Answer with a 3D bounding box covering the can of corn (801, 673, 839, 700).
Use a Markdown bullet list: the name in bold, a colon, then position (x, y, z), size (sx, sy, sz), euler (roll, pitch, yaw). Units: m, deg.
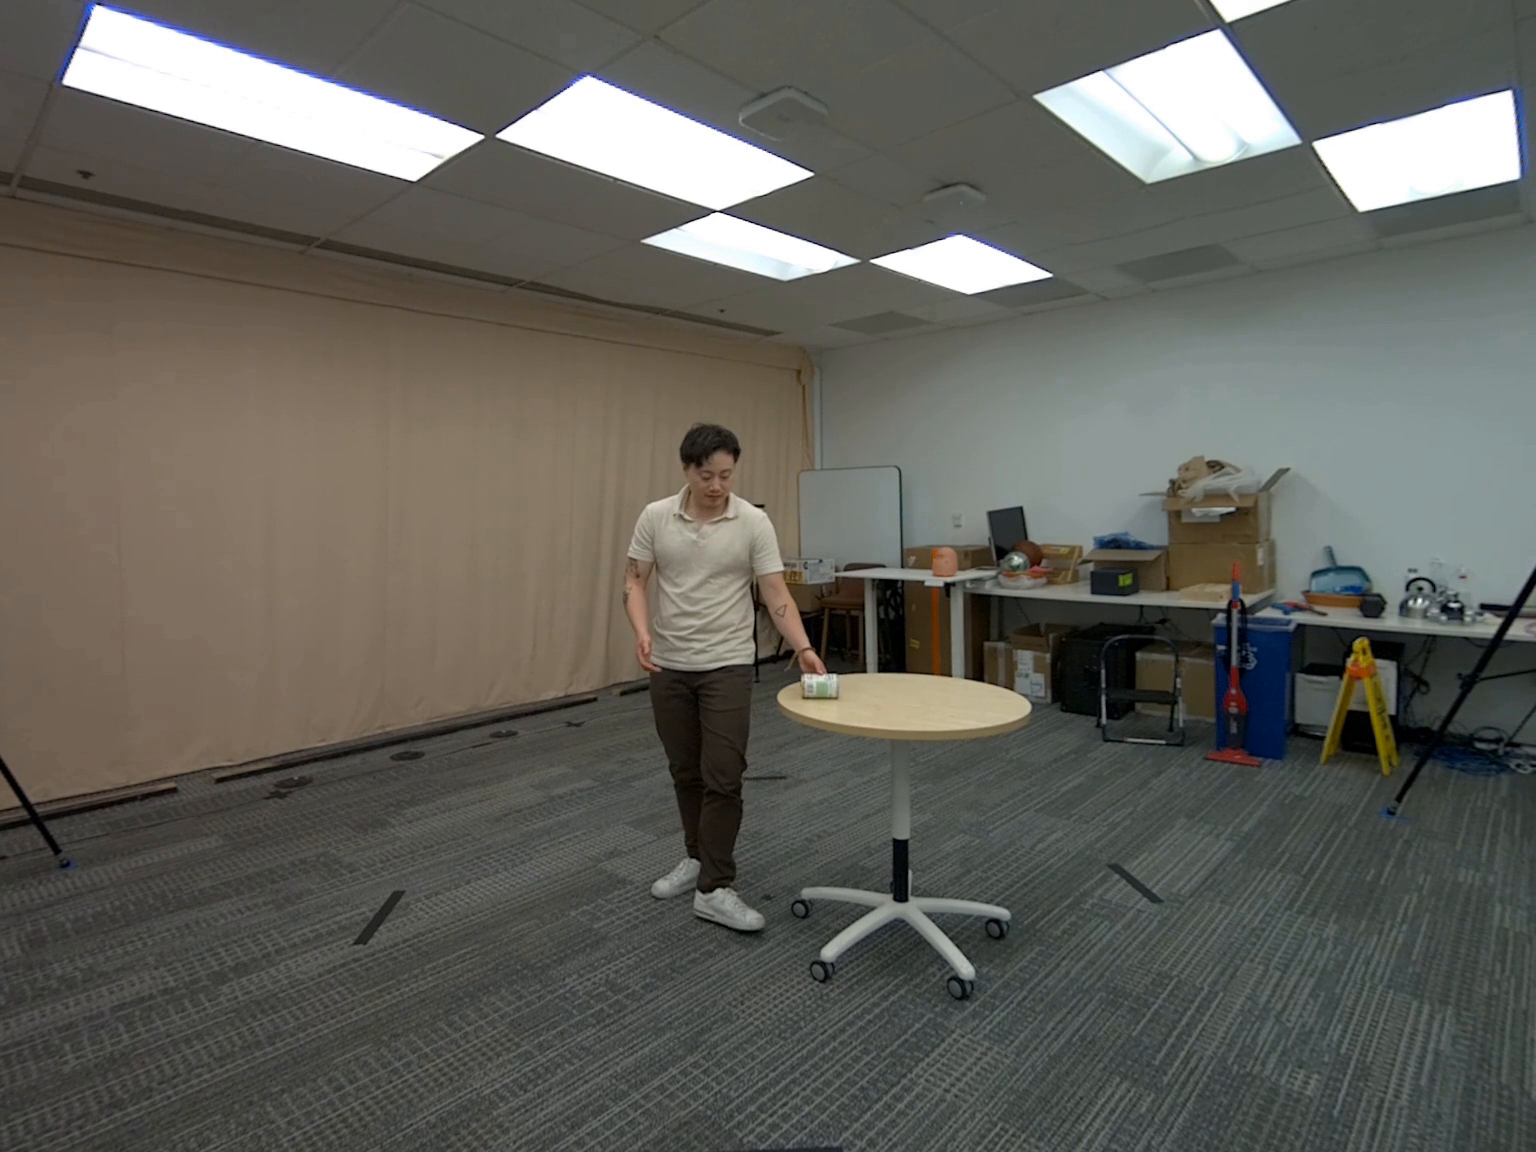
- **can of corn**: position (0.162, 0.344, 2.628), size (0.111, 0.074, 0.074), euler (-1, 4, 4)
